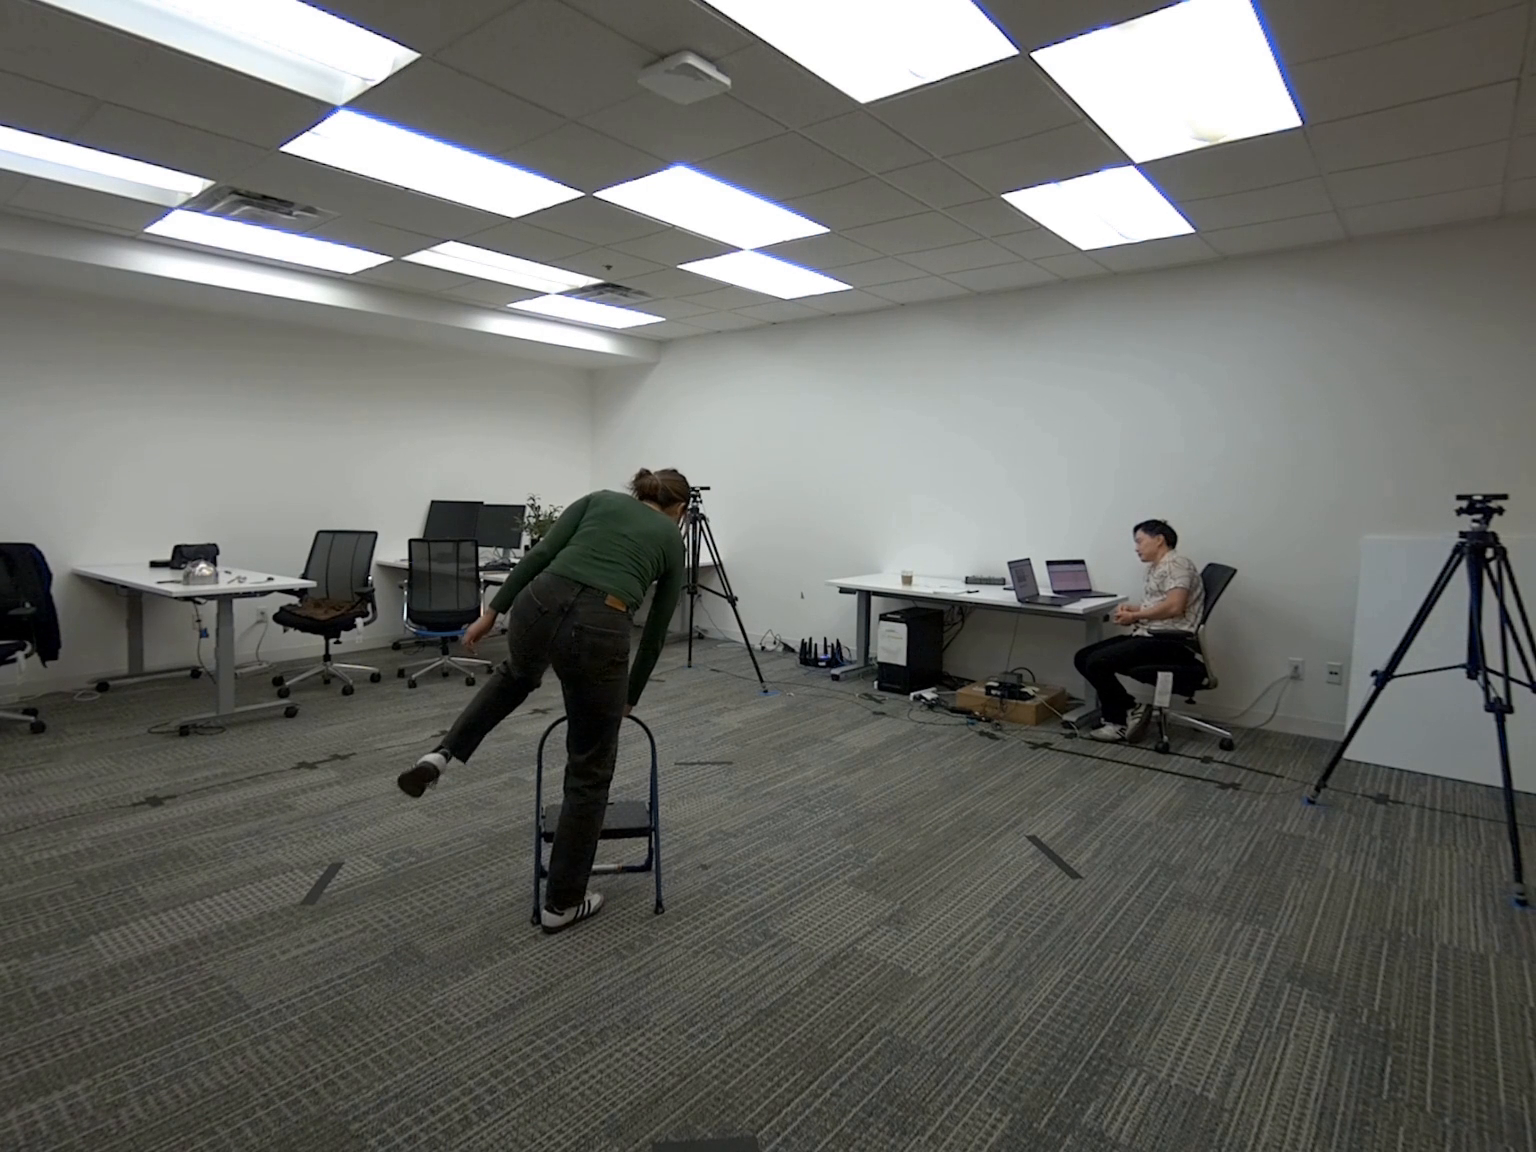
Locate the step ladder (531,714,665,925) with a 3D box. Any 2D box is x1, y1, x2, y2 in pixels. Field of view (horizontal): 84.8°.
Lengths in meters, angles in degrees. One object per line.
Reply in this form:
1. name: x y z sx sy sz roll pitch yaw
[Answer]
1. step ladder: -0.589 0.781 2.893 0.425 0.604 0.354 -1 3 -12
